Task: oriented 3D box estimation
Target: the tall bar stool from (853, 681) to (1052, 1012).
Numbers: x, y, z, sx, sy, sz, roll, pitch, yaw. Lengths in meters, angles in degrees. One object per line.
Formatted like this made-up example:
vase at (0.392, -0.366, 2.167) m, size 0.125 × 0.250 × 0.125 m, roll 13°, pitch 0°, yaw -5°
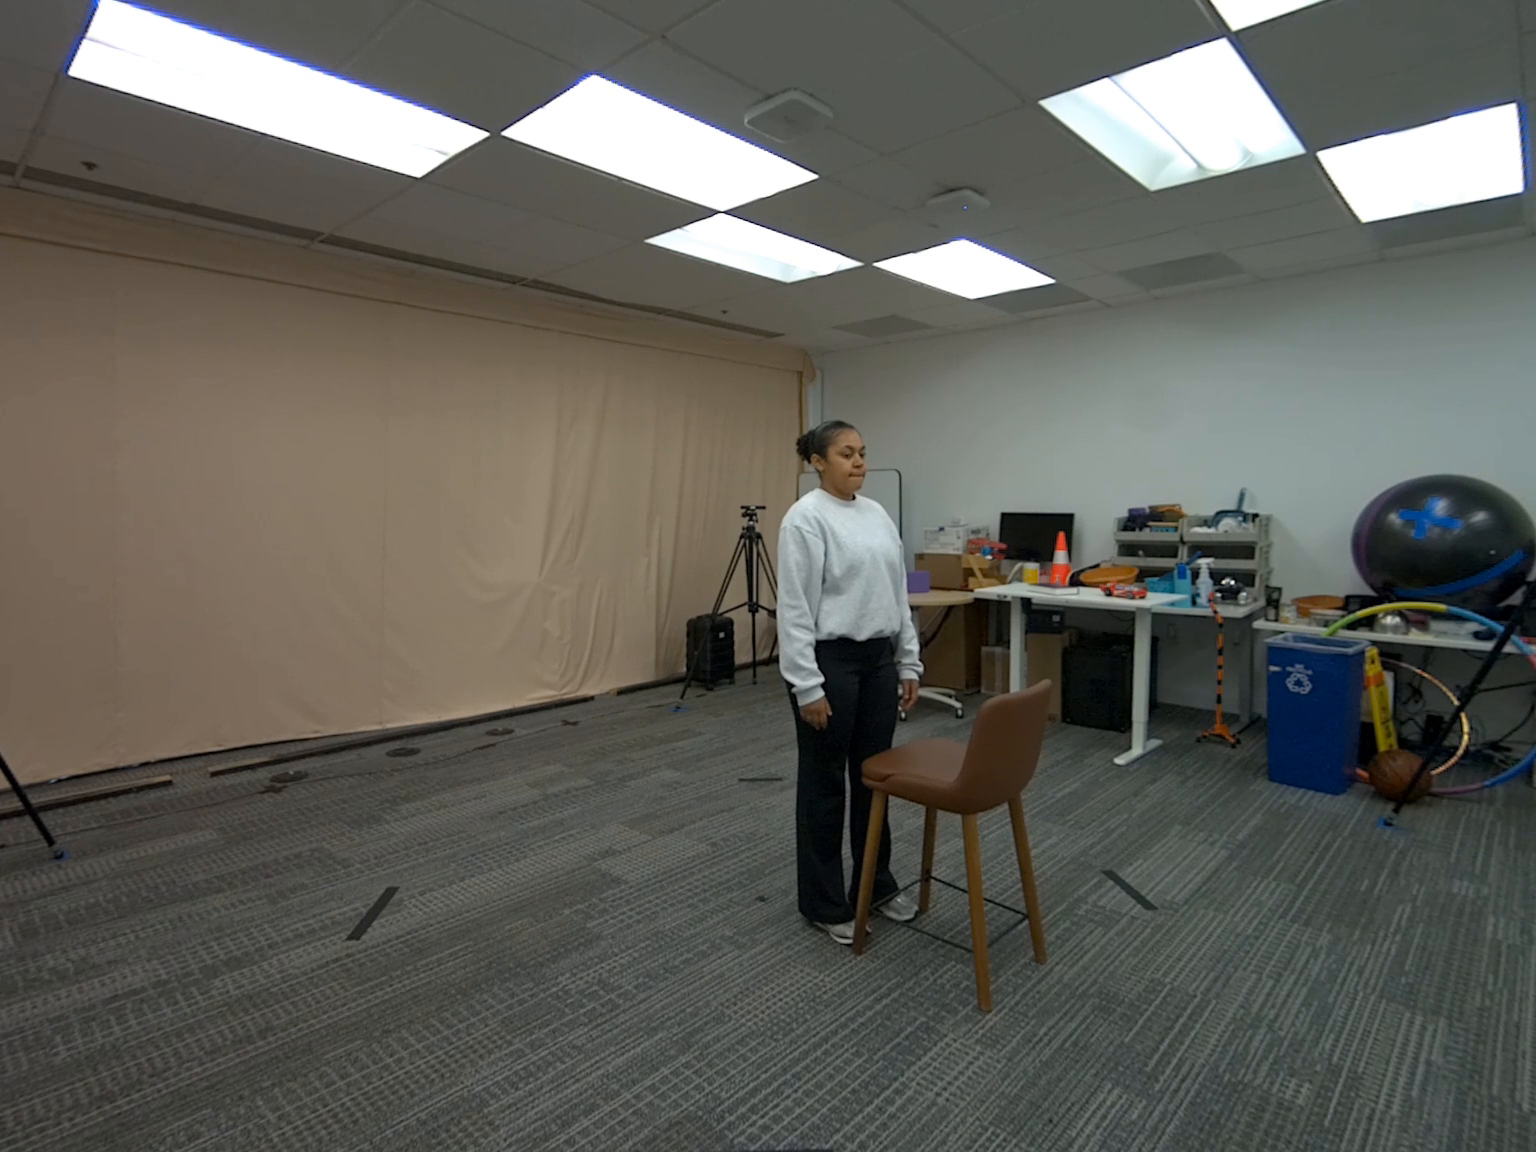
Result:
tall bar stool at (0.571, 0.738, 2.568) m, size 0.484 × 0.887 × 0.442 m, roll 6°, pitch 7°, yaw 44°
